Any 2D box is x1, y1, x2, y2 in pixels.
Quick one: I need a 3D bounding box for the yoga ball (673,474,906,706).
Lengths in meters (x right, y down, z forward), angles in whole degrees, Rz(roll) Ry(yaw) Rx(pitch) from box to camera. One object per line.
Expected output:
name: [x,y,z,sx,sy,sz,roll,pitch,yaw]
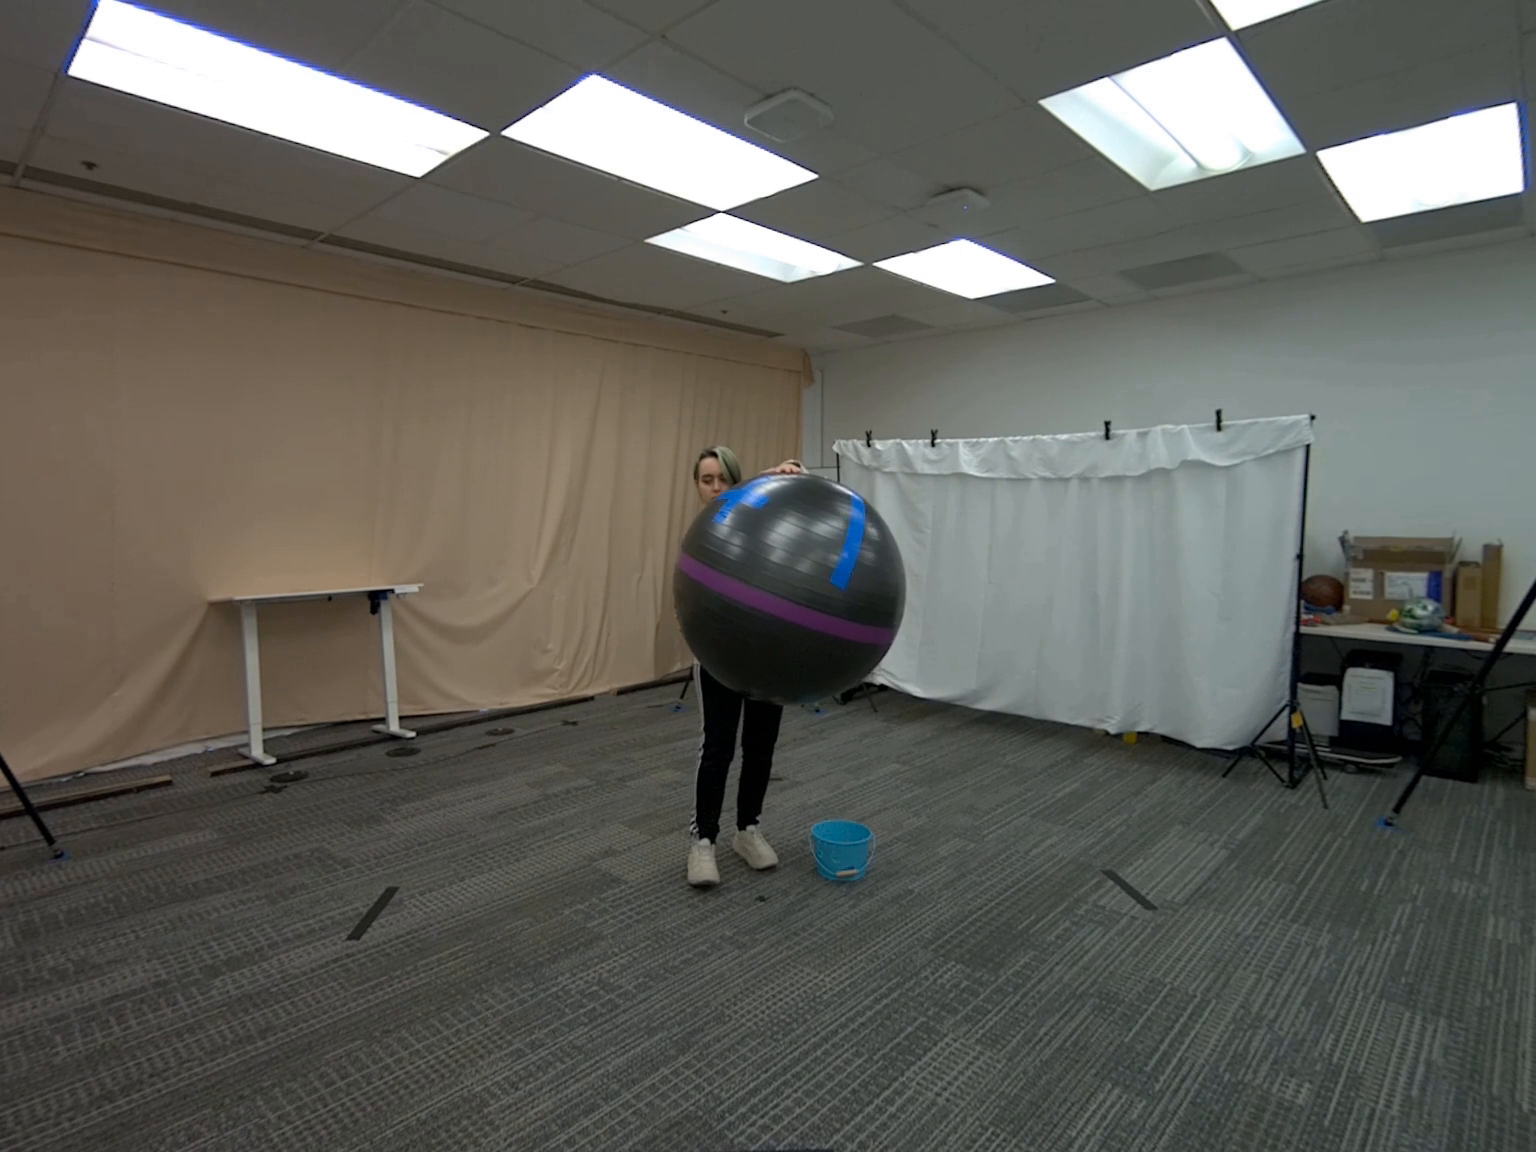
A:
yoga ball: [0.080,0.046,2.747,0.757,0.756,0.761,0,4,-2]
